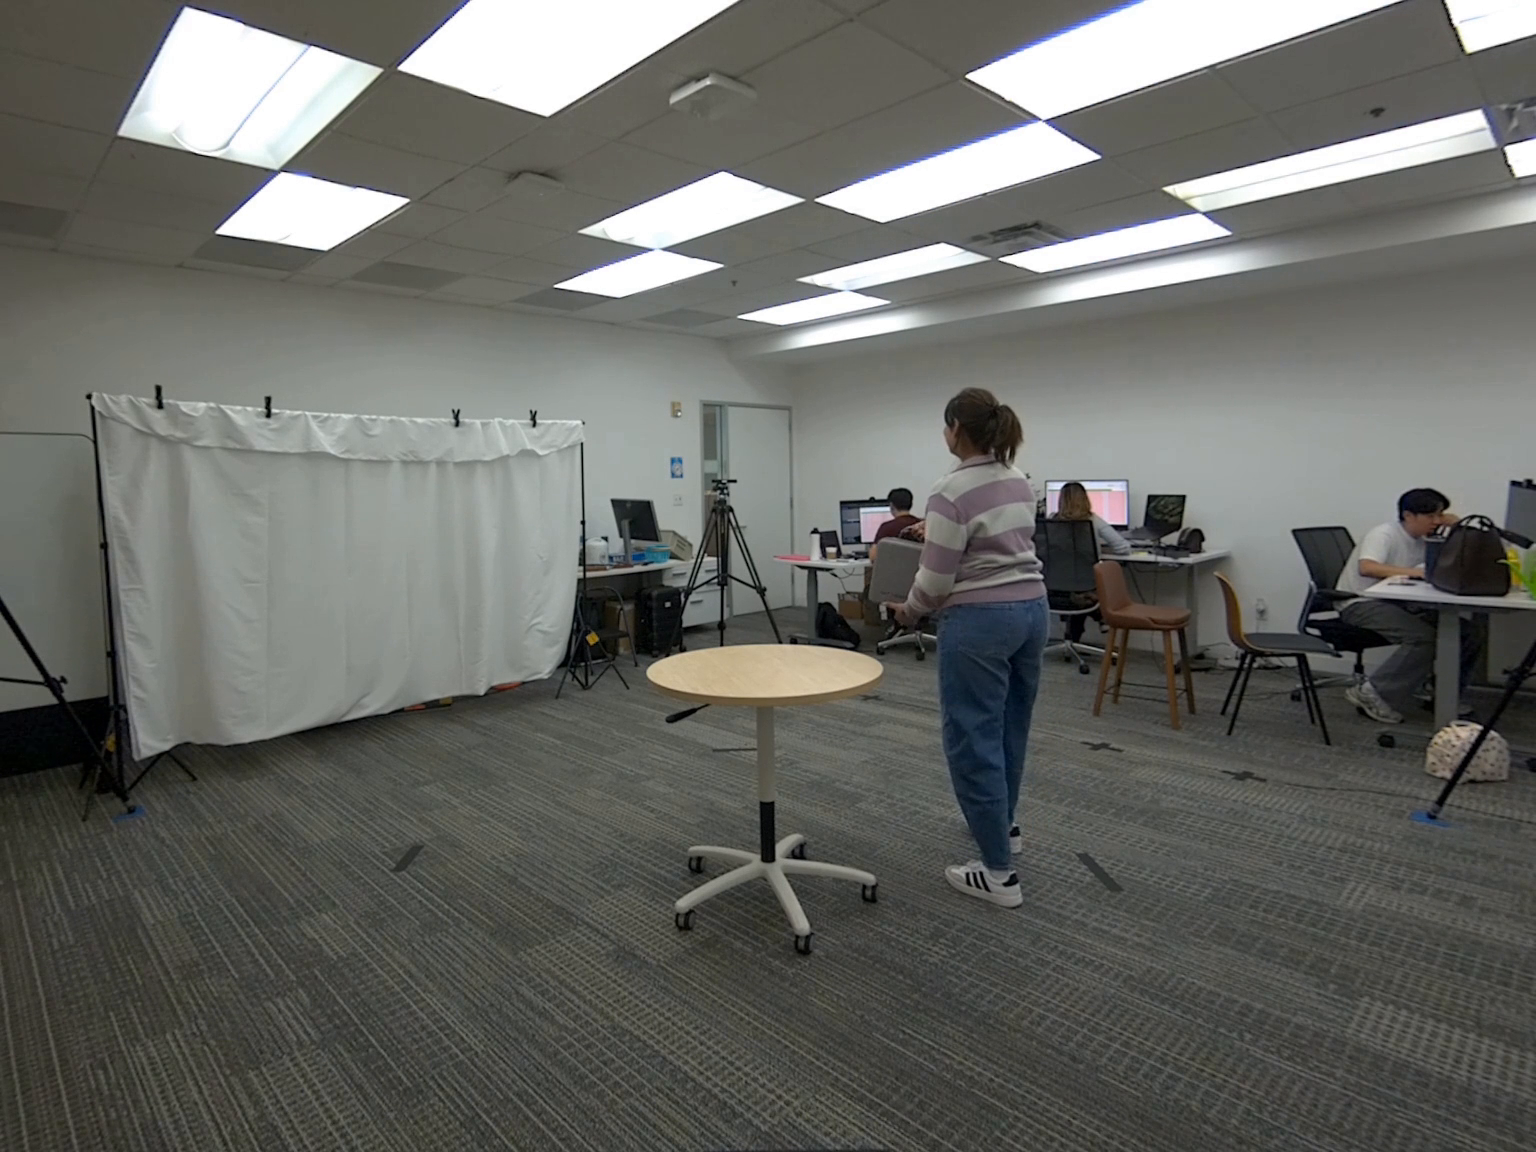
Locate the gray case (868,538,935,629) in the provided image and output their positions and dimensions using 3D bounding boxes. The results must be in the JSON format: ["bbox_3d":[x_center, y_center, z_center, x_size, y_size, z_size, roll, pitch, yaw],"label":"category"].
[{"bbox_3d":[0.525,0.001,3.185,0.263,0.259,0.102,13,11,23],"label":"gray case"}]
